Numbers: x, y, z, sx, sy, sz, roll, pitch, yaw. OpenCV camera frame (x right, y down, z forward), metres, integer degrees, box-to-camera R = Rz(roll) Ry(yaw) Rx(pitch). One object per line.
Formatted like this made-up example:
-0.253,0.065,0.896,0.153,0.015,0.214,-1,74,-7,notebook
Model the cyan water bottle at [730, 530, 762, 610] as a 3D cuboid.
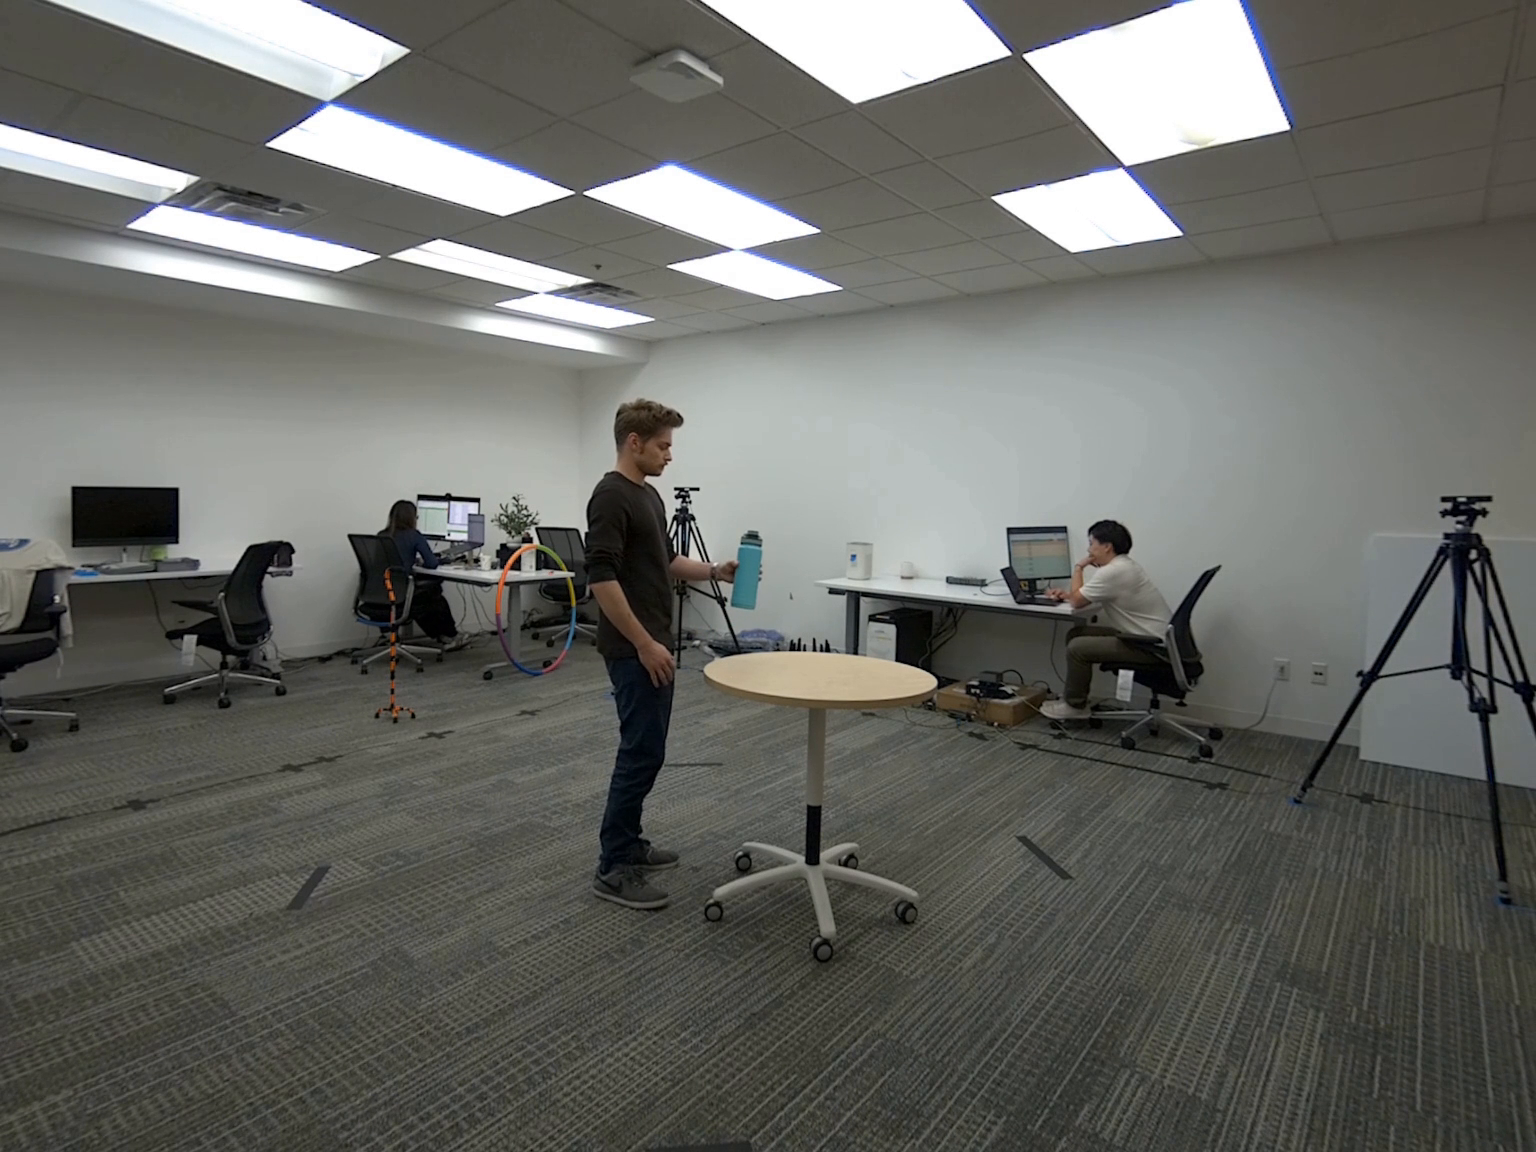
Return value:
-0.089,-0.025,3.087,0.092,0.285,0.092,8,-6,-1,cyan water bottle
